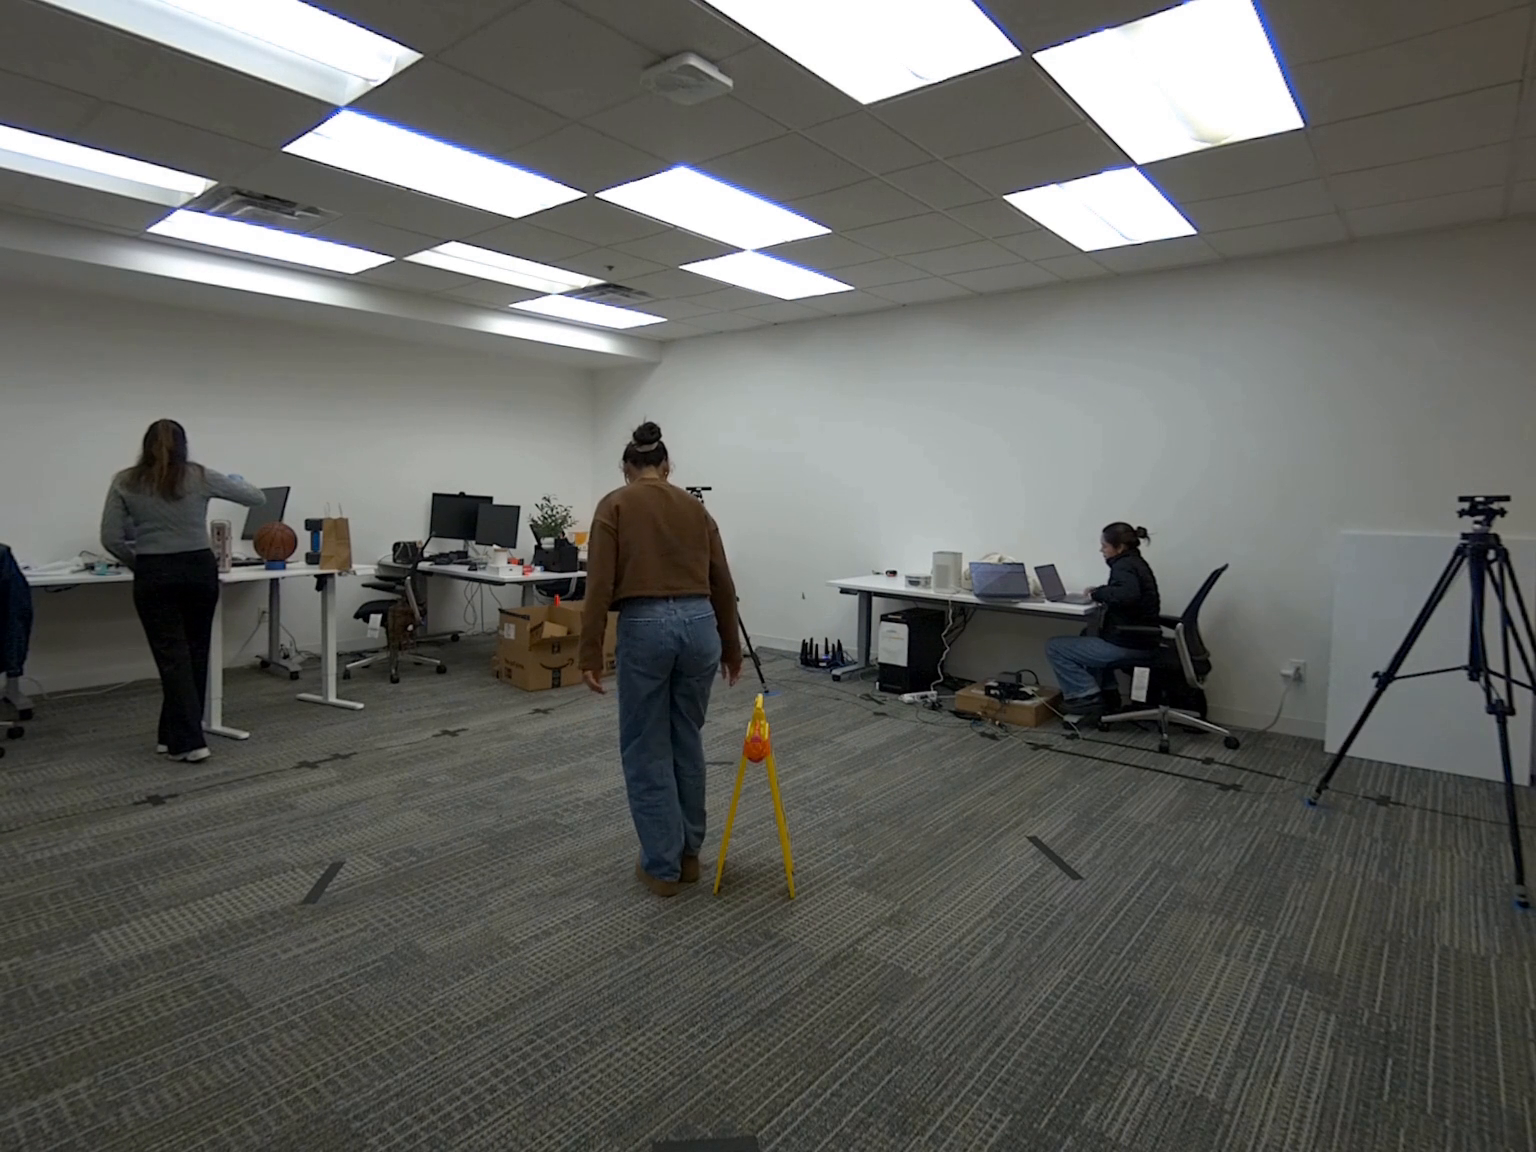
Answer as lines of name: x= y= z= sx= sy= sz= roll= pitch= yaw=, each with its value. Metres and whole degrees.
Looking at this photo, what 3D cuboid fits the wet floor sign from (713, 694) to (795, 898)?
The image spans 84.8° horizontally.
wet floor sign: x=-0.046 y=0.762 z=3.016 sx=0.291 sy=0.643 sz=0.283 roll=2 pitch=5 yaw=2
